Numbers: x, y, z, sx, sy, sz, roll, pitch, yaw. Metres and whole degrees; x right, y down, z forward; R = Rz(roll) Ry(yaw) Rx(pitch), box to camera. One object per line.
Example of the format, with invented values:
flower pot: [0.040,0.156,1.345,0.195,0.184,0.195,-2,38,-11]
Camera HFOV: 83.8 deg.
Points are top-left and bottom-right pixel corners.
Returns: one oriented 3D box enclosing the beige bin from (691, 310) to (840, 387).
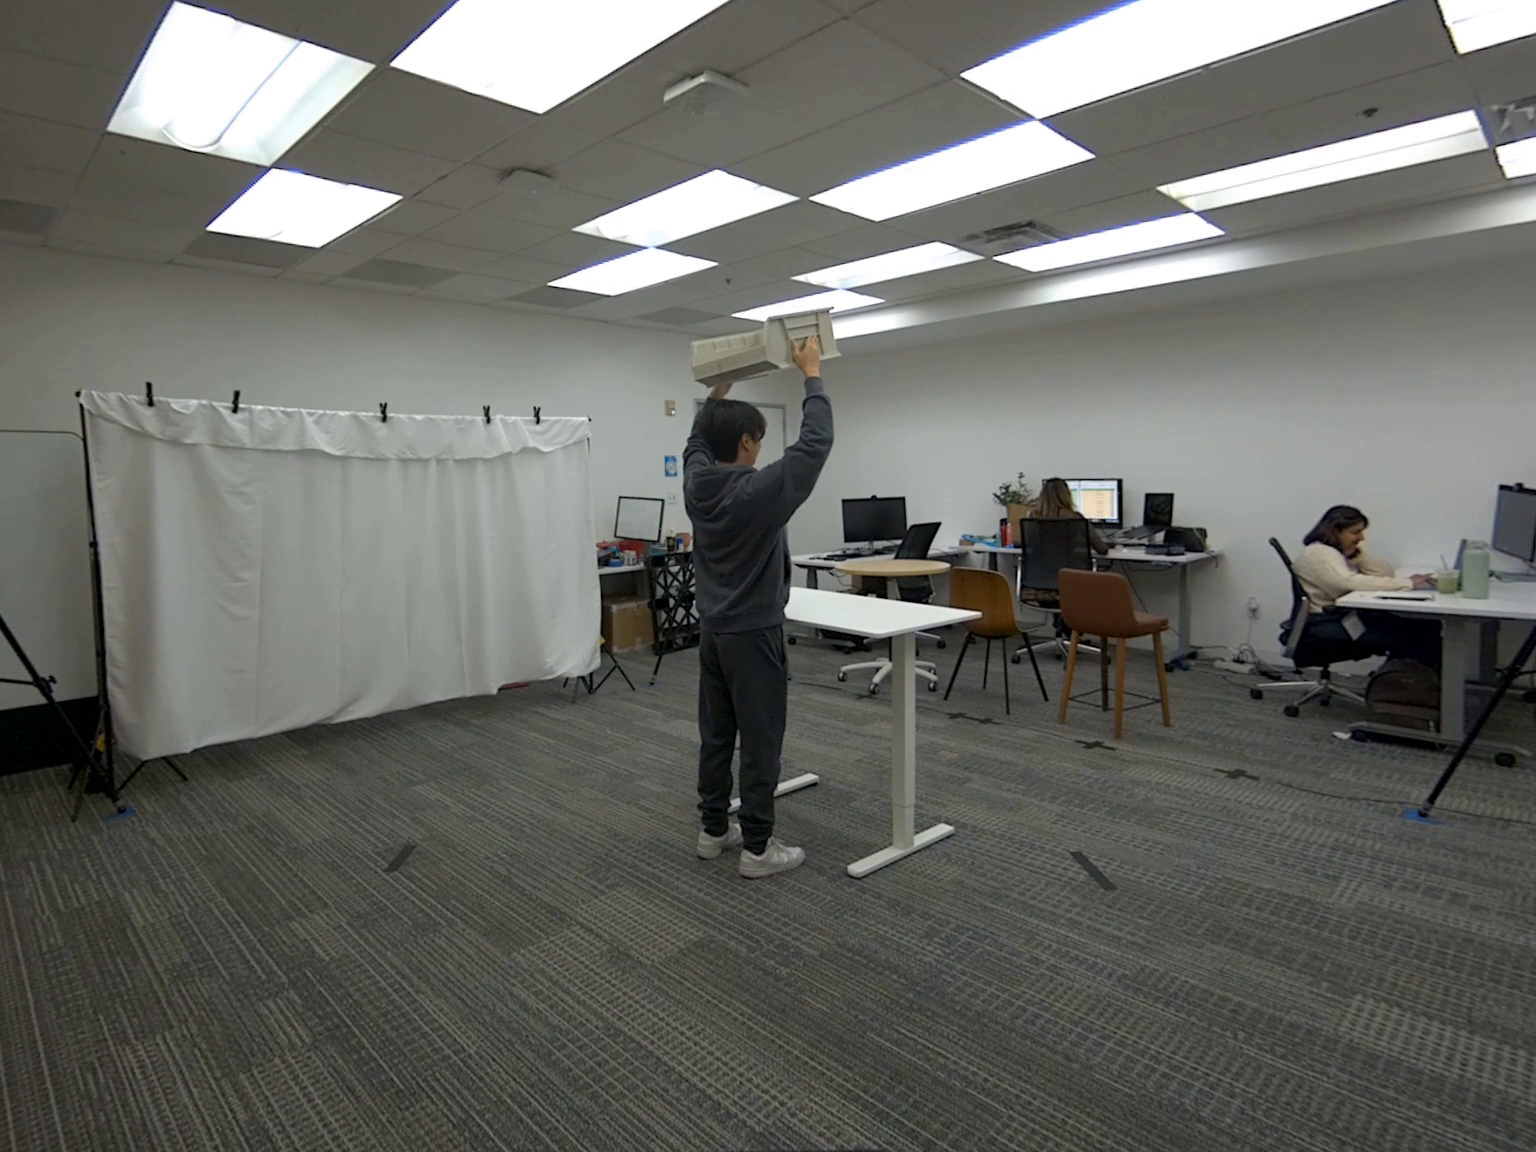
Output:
beige bin: [-0.013,-0.829,3.124,0.371,0.187,0.434,-21,13,-39]
